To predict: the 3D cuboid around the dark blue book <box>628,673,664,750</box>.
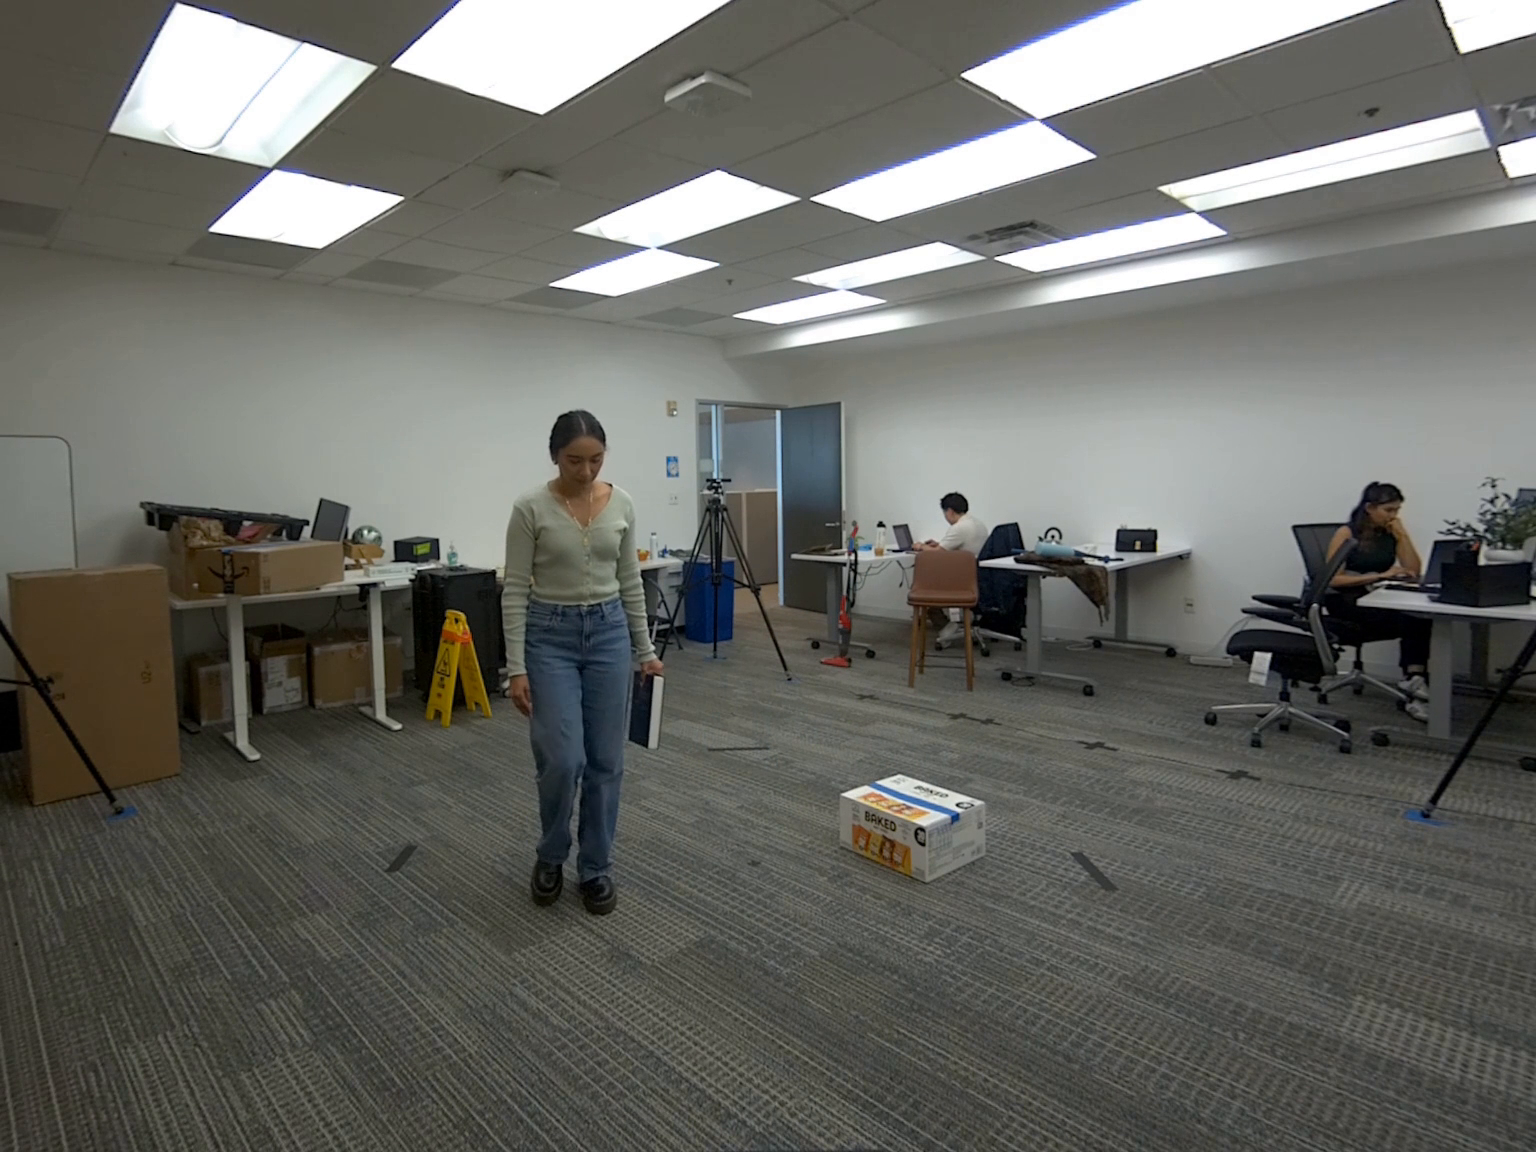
[{"bbox_3d":[-0.425,0.460,2.947,0.044,0.246,0.167,6,-4,-33],"label":"dark blue book"}]
